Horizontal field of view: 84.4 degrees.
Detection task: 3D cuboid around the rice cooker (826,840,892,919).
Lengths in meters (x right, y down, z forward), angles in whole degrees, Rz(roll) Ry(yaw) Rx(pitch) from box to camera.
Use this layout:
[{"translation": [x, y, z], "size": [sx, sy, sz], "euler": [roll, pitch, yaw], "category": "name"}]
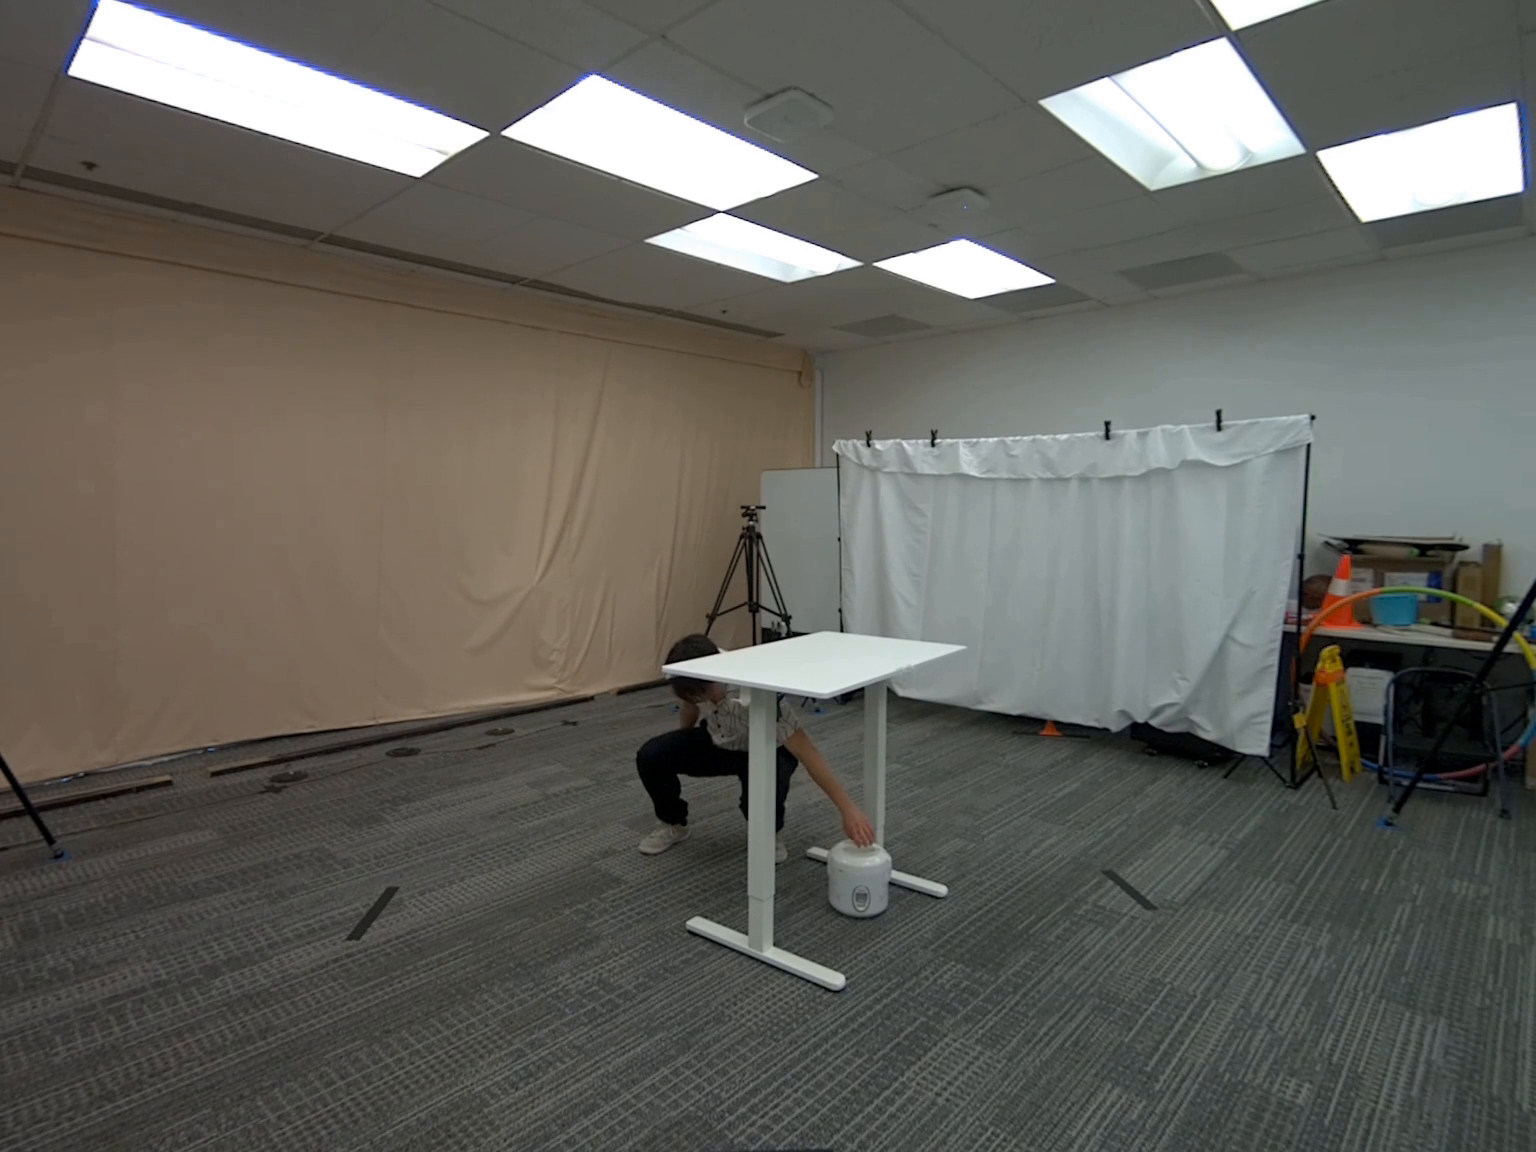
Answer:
[{"translation": [0.317, 1.030, 2.910], "size": [0.221, 0.232, 0.217], "euler": [0, 3, 3], "category": "rice cooker"}]
